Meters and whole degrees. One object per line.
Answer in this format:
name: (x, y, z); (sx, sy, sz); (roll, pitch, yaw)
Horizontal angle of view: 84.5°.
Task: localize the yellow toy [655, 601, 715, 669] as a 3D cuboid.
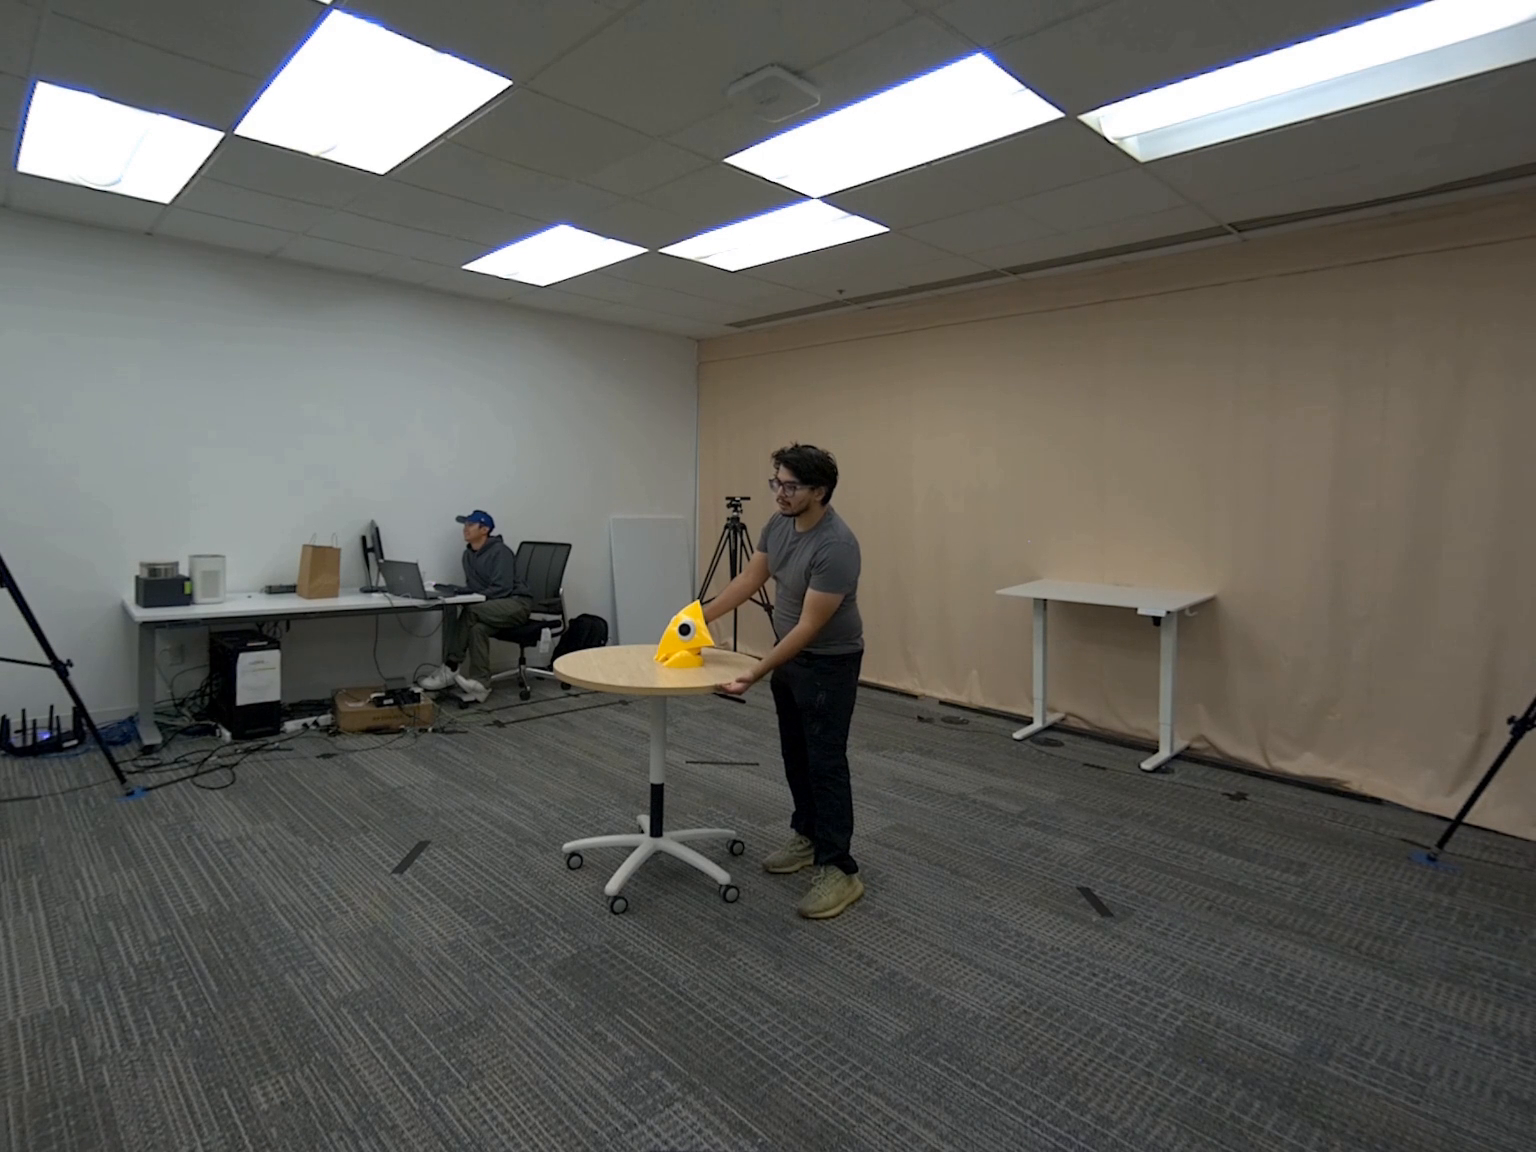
yellow toy: (-0.316, 0.205, 3.109); (0.190, 0.230, 0.208); (1, 3, -23)
